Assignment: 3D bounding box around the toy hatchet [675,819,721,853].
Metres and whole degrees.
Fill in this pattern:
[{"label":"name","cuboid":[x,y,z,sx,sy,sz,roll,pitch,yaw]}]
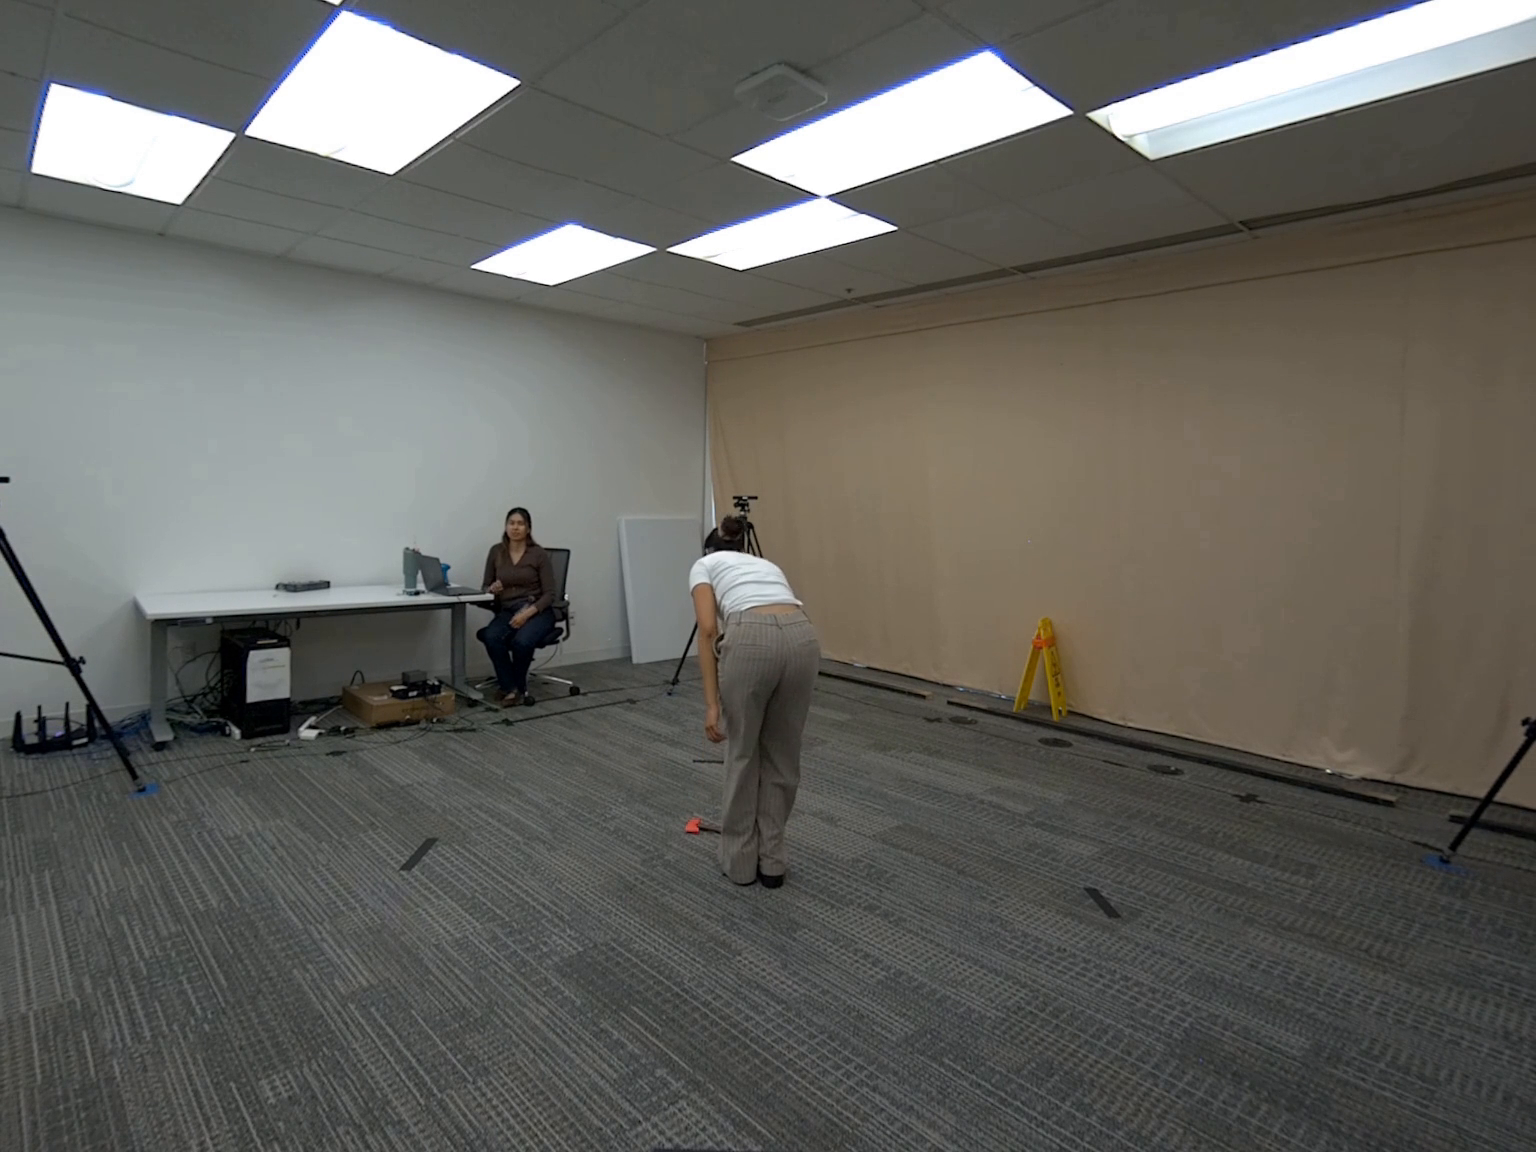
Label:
[{"label":"toy hatchet","cuboid":[-0.241,1.064,3.465,0.277,0.029,0.128,7,5,43]}]
